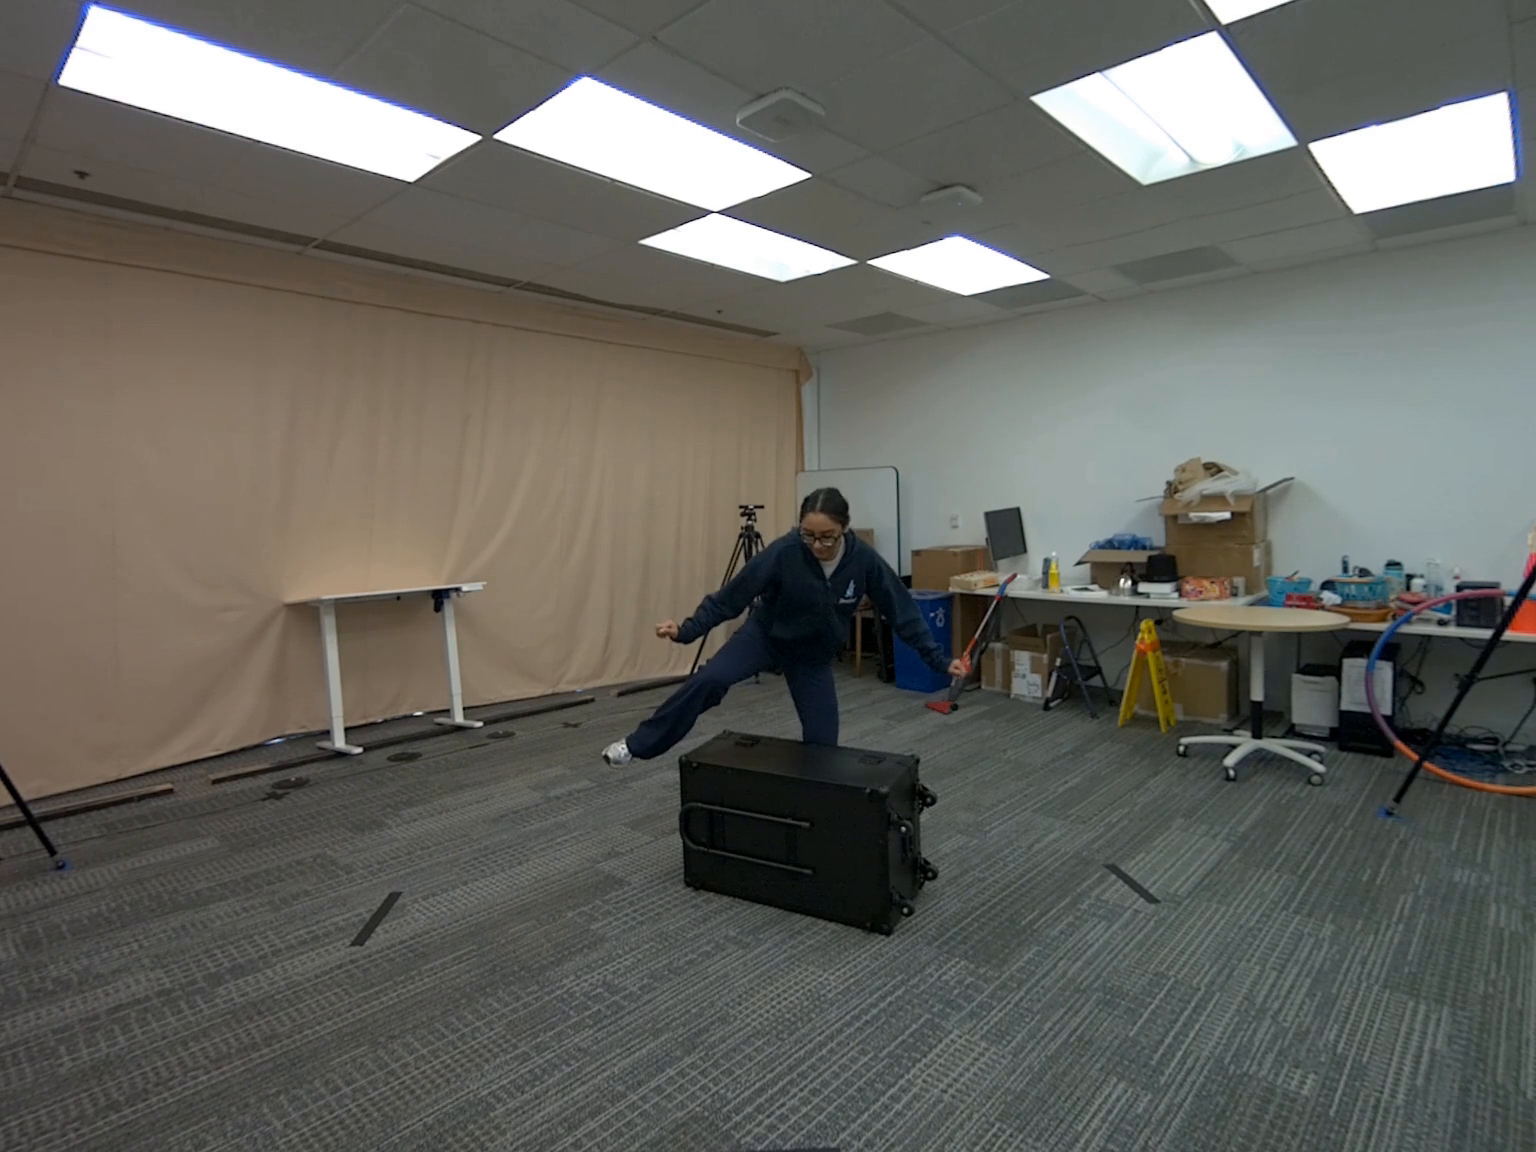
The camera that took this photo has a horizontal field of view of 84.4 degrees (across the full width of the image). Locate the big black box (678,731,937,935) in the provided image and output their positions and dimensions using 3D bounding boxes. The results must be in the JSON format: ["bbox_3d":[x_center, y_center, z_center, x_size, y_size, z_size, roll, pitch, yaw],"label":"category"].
[{"bbox_3d":[0.136,0.883,2.993,0.885,0.519,0.387,1,7,28],"label":"big black box"}]
